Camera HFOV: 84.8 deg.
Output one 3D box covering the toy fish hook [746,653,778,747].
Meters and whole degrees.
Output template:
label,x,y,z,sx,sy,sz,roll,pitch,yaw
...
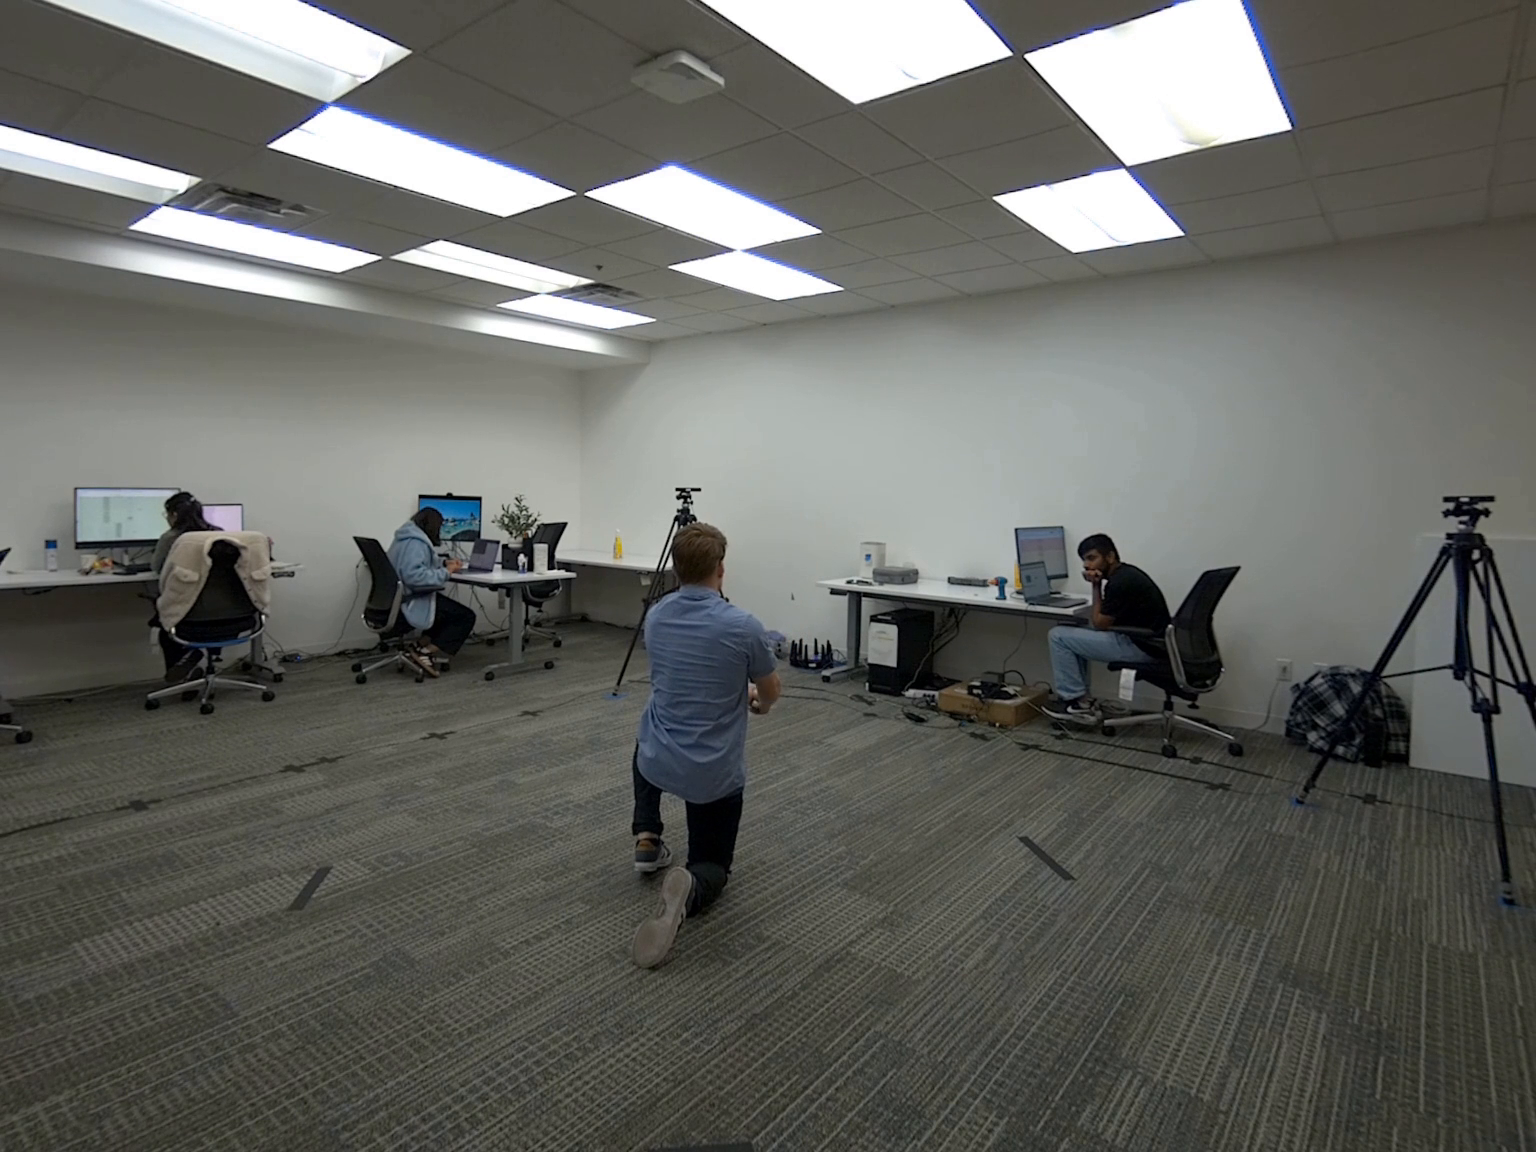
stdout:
label,x,y,z,sx,sy,sz,roll,pitch,yaw
toy fish hook,-0.028,0.493,3.471,0.049,0.223,0.507,10,12,4
